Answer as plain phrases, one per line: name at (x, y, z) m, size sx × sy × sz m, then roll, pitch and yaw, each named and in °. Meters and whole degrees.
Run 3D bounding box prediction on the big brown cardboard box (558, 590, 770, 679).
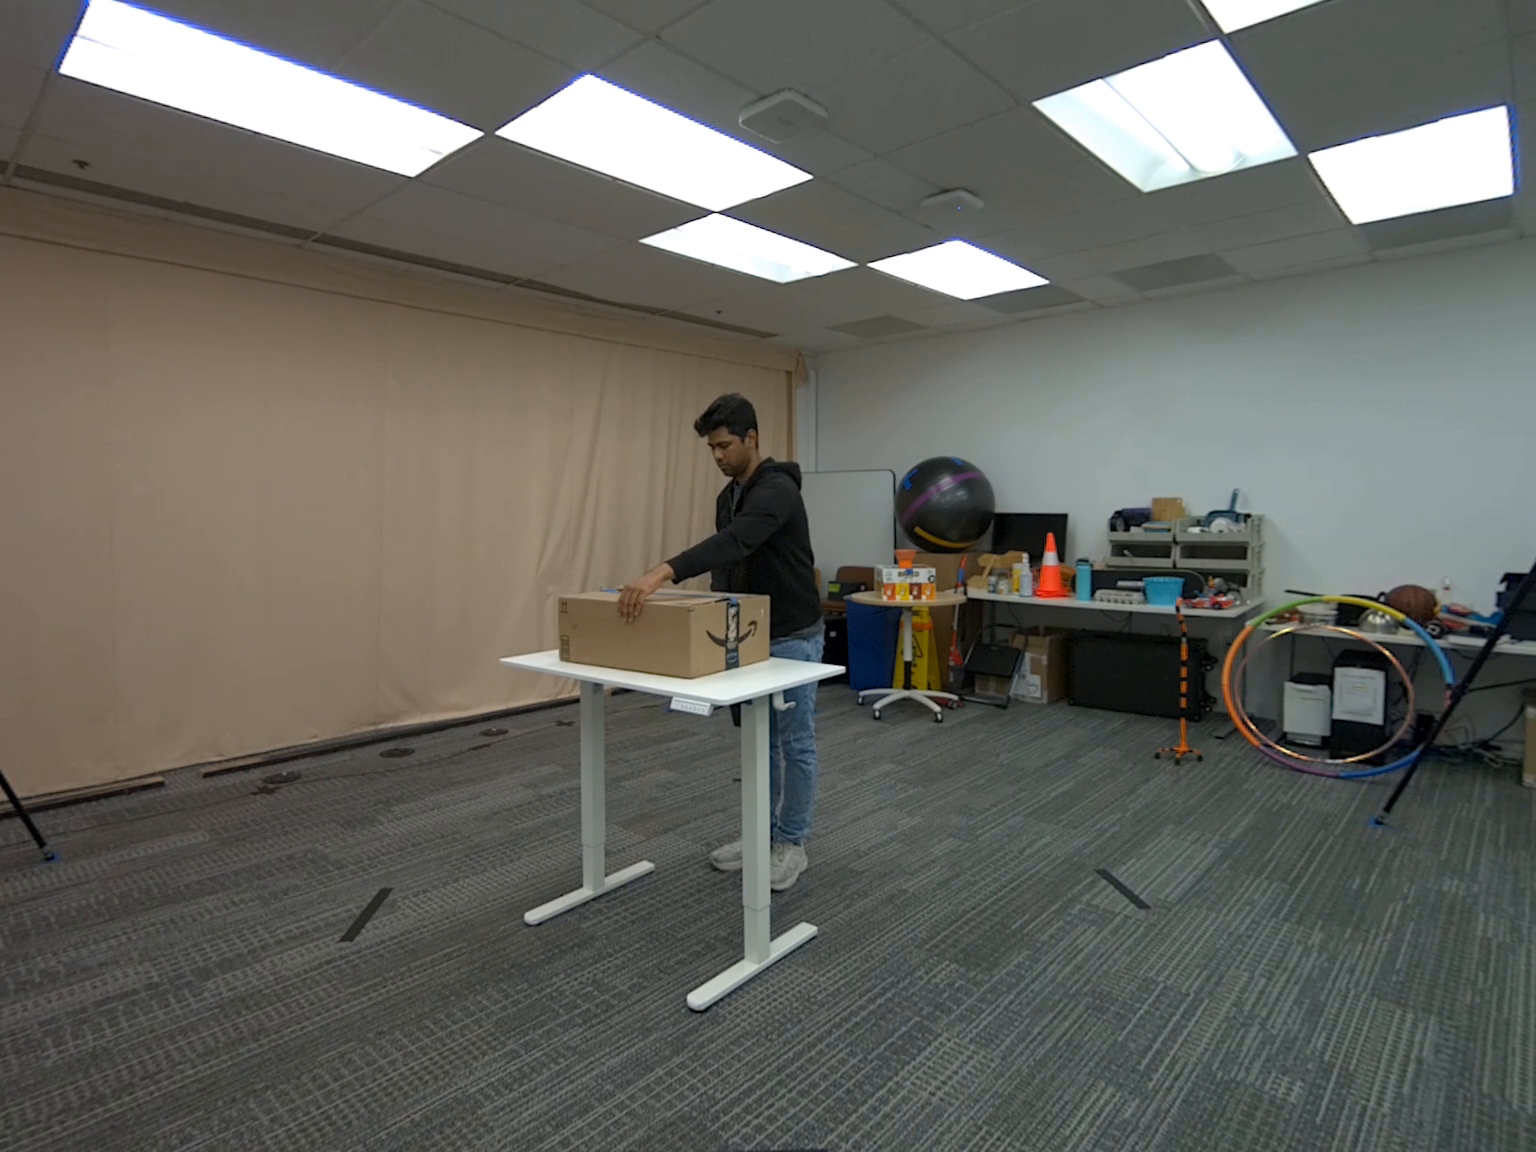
big brown cardboard box at (-0.339, 0.165, 2.801) m, size 0.607 × 0.233 × 0.405 m, roll 2°, pitch 4°, yaw 36°
